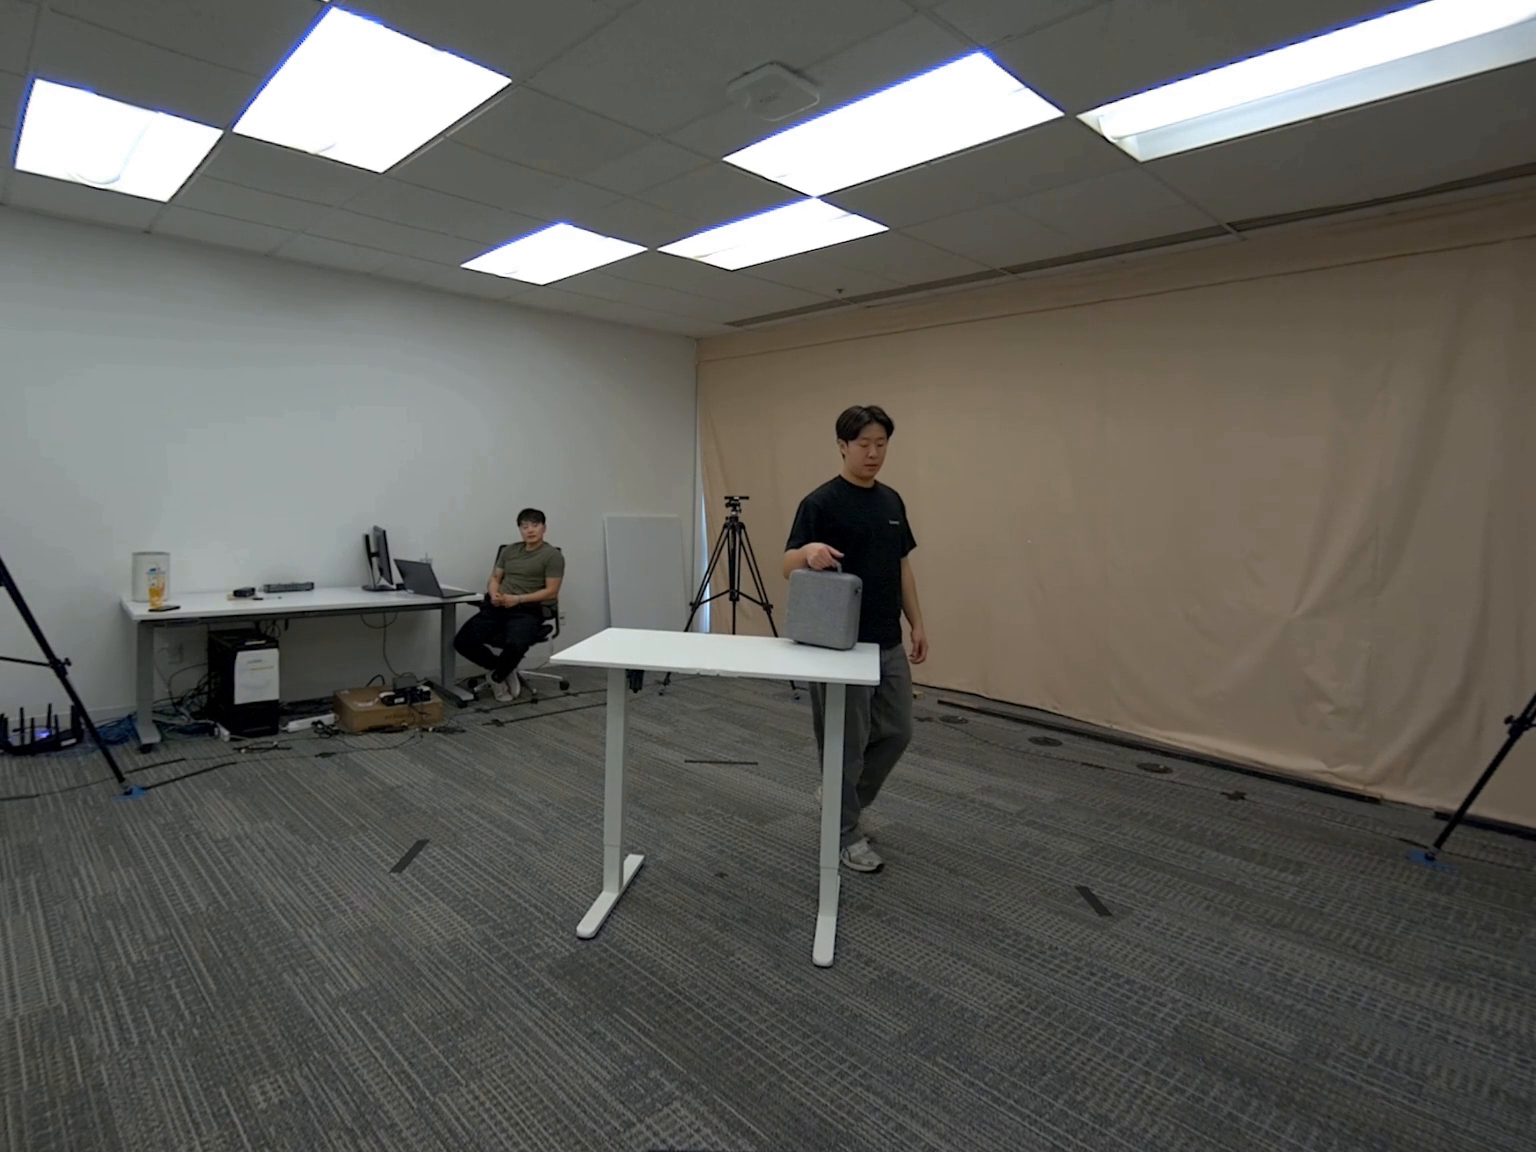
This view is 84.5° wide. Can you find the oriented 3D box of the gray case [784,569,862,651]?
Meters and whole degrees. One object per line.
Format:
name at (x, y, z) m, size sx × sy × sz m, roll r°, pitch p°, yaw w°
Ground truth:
gray case at (0.179, 0.100, 2.918) m, size 0.270 × 0.286 × 0.101 m, roll 8°, pitch 5°, yaw 34°
